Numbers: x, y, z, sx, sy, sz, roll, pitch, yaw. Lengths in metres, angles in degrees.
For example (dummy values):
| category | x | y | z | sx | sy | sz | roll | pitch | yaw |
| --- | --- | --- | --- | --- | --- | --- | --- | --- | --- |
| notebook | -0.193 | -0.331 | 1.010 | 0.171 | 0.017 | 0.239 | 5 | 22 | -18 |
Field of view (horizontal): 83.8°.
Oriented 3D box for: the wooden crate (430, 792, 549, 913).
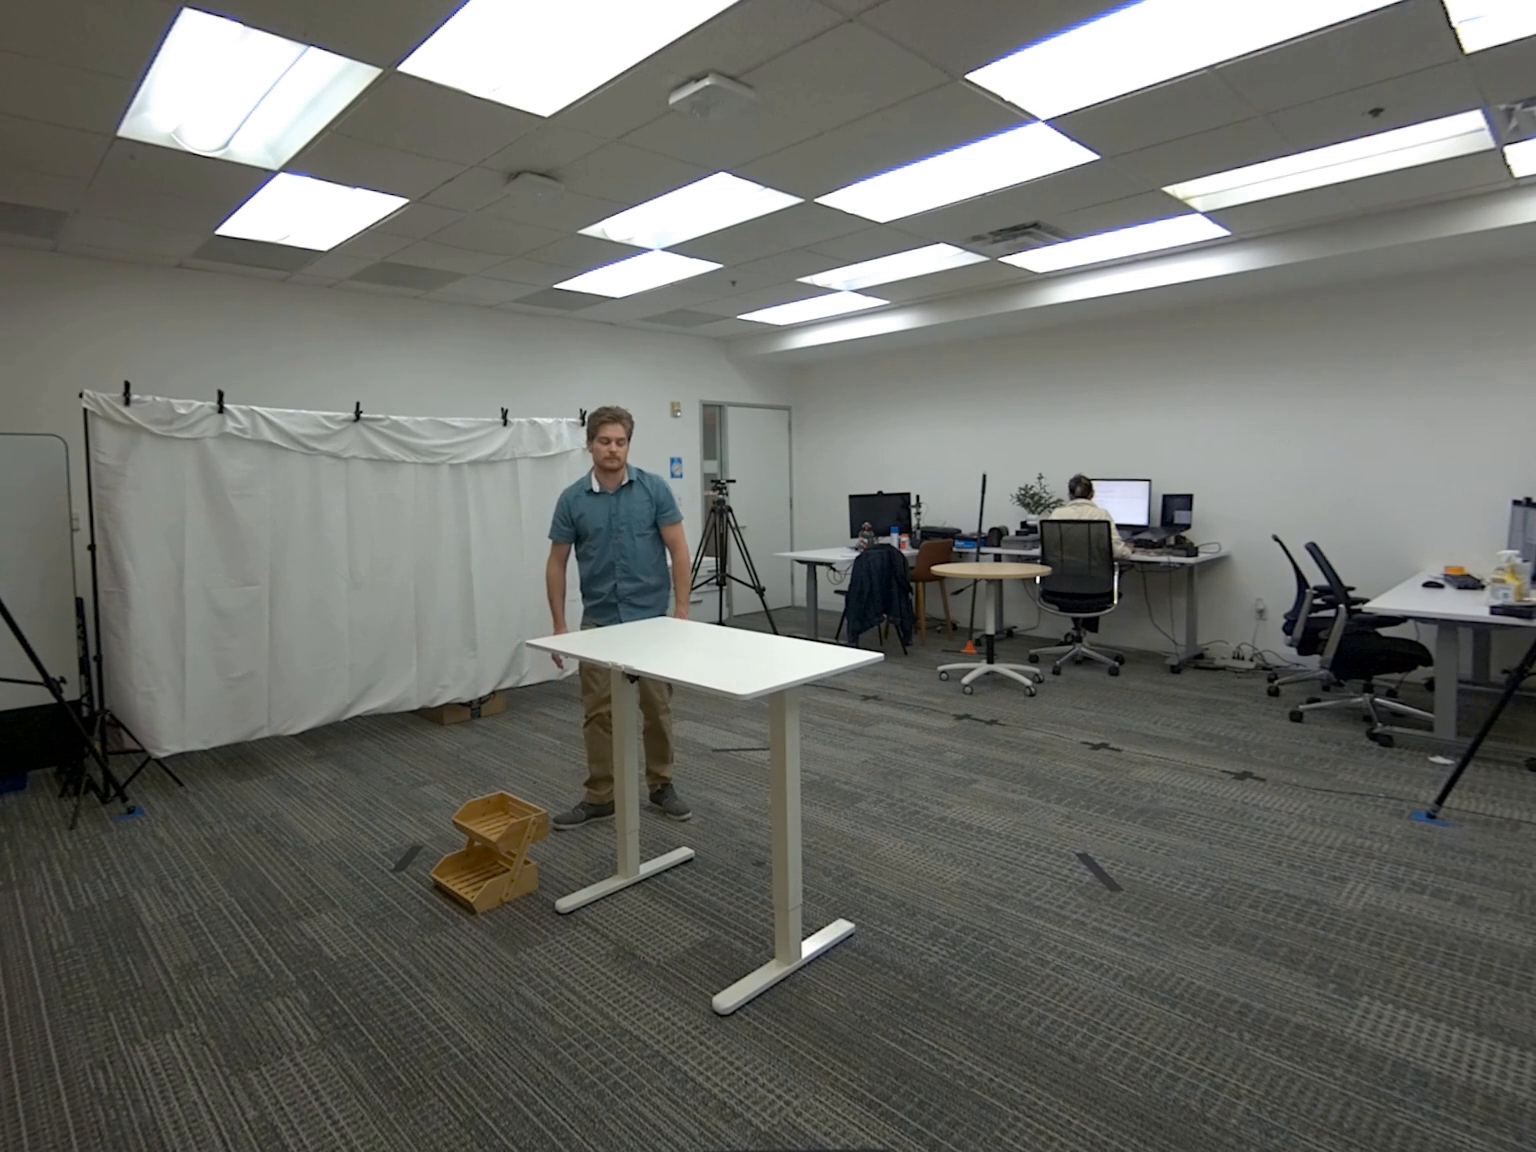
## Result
| category | x | y | z | sx | sy | sz | roll | pitch | yaw |
| --- | --- | --- | --- | --- | --- | --- | --- | --- | --- |
| wooden crate | -0.977 | 0.948 | 2.978 | 0.334 | 0.272 | 0.294 | 4 | 6 | 44 |
